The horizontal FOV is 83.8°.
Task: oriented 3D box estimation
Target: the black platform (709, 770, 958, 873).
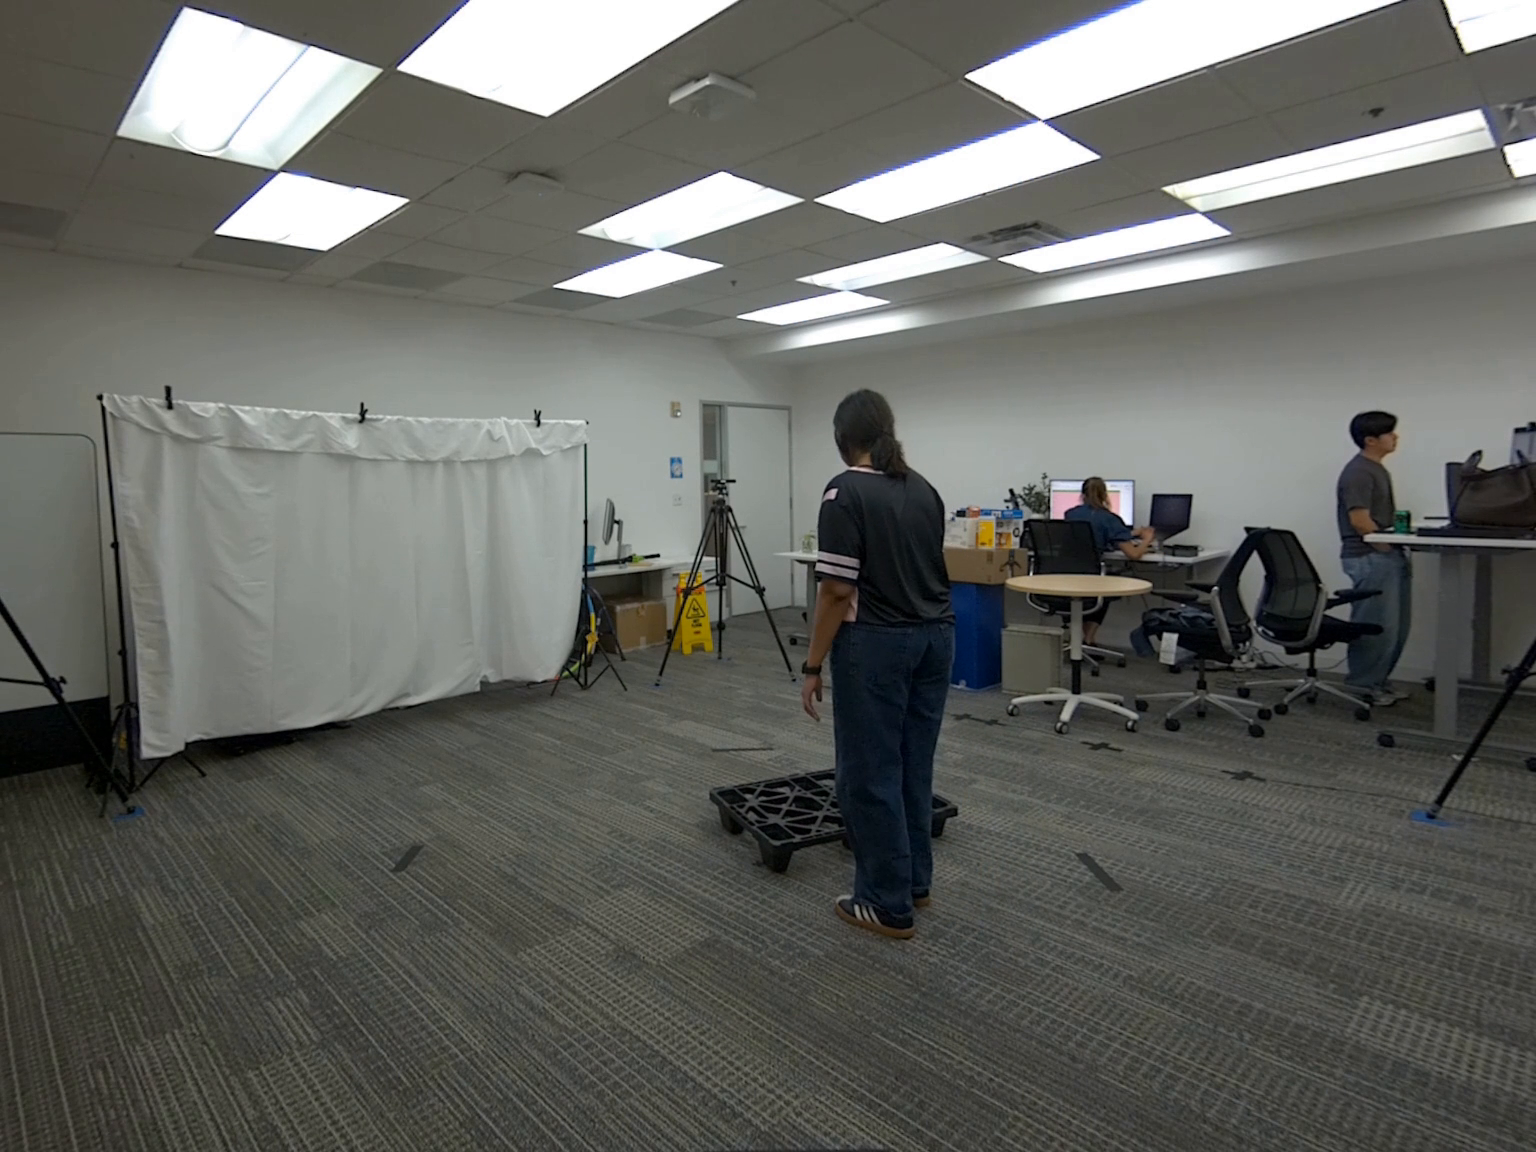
[{"bbox_3d":[0.242,0.944,3.387,0.789,0.143,0.620,-4,6,-25],"label":"black platform"}]
